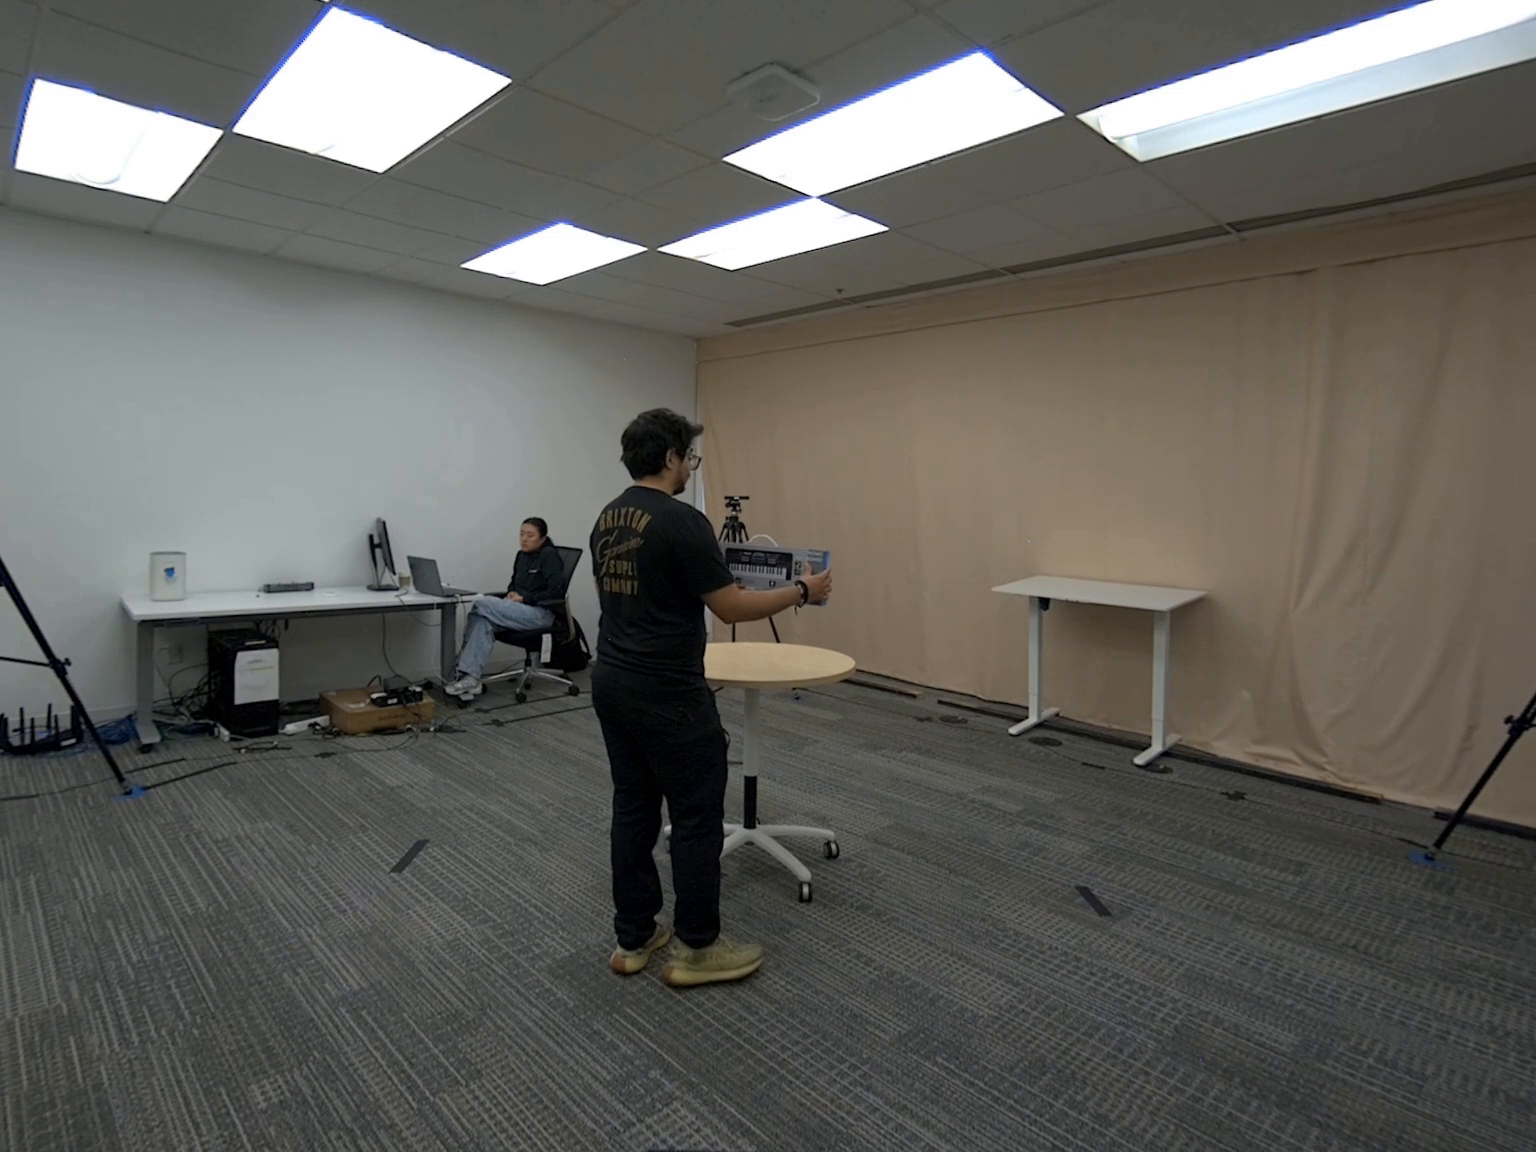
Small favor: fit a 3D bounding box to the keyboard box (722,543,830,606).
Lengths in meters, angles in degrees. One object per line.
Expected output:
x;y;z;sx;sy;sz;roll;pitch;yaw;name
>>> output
-0.030;-0.009;2.689;0.444;0.176;0.058;4;1;21;keyboard box
